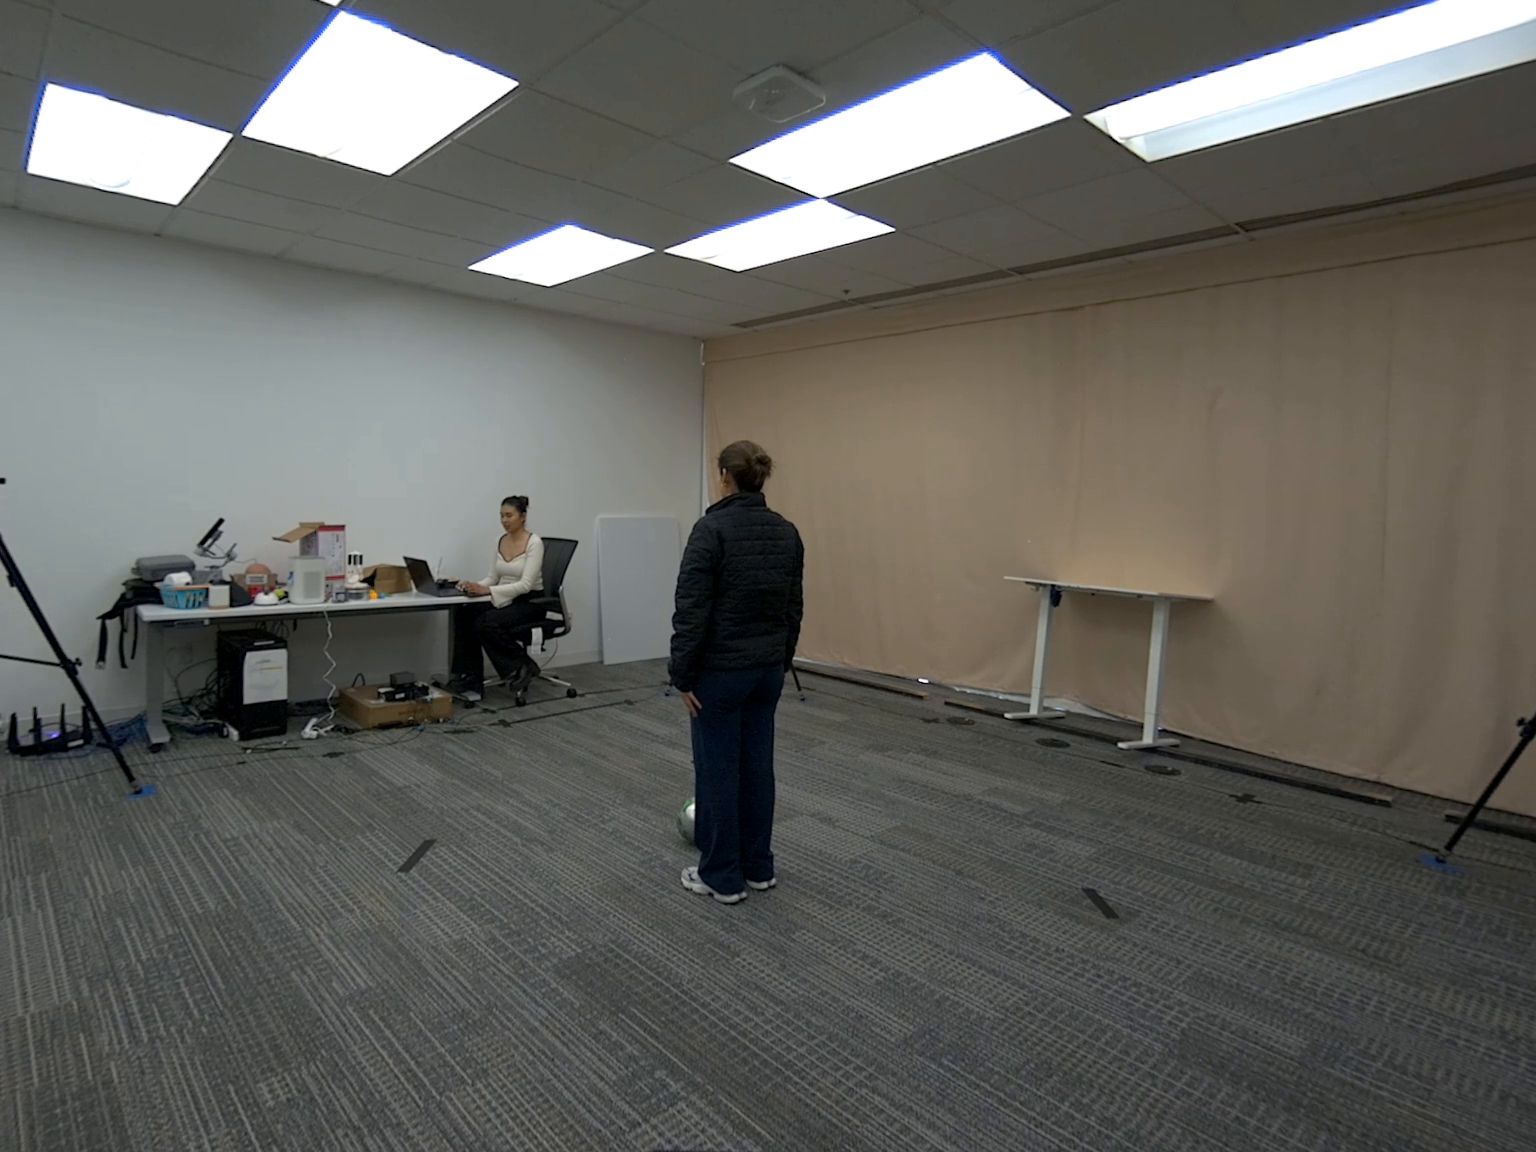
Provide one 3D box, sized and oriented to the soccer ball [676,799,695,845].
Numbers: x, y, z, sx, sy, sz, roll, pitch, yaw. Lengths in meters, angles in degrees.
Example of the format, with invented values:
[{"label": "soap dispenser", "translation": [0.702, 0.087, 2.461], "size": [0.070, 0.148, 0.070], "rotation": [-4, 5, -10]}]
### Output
[{"label": "soccer ball", "translation": [-0.281, 0.984, 3.395], "size": [0.187, 0.187, 0.188], "rotation": [1, 4, -1]}]
